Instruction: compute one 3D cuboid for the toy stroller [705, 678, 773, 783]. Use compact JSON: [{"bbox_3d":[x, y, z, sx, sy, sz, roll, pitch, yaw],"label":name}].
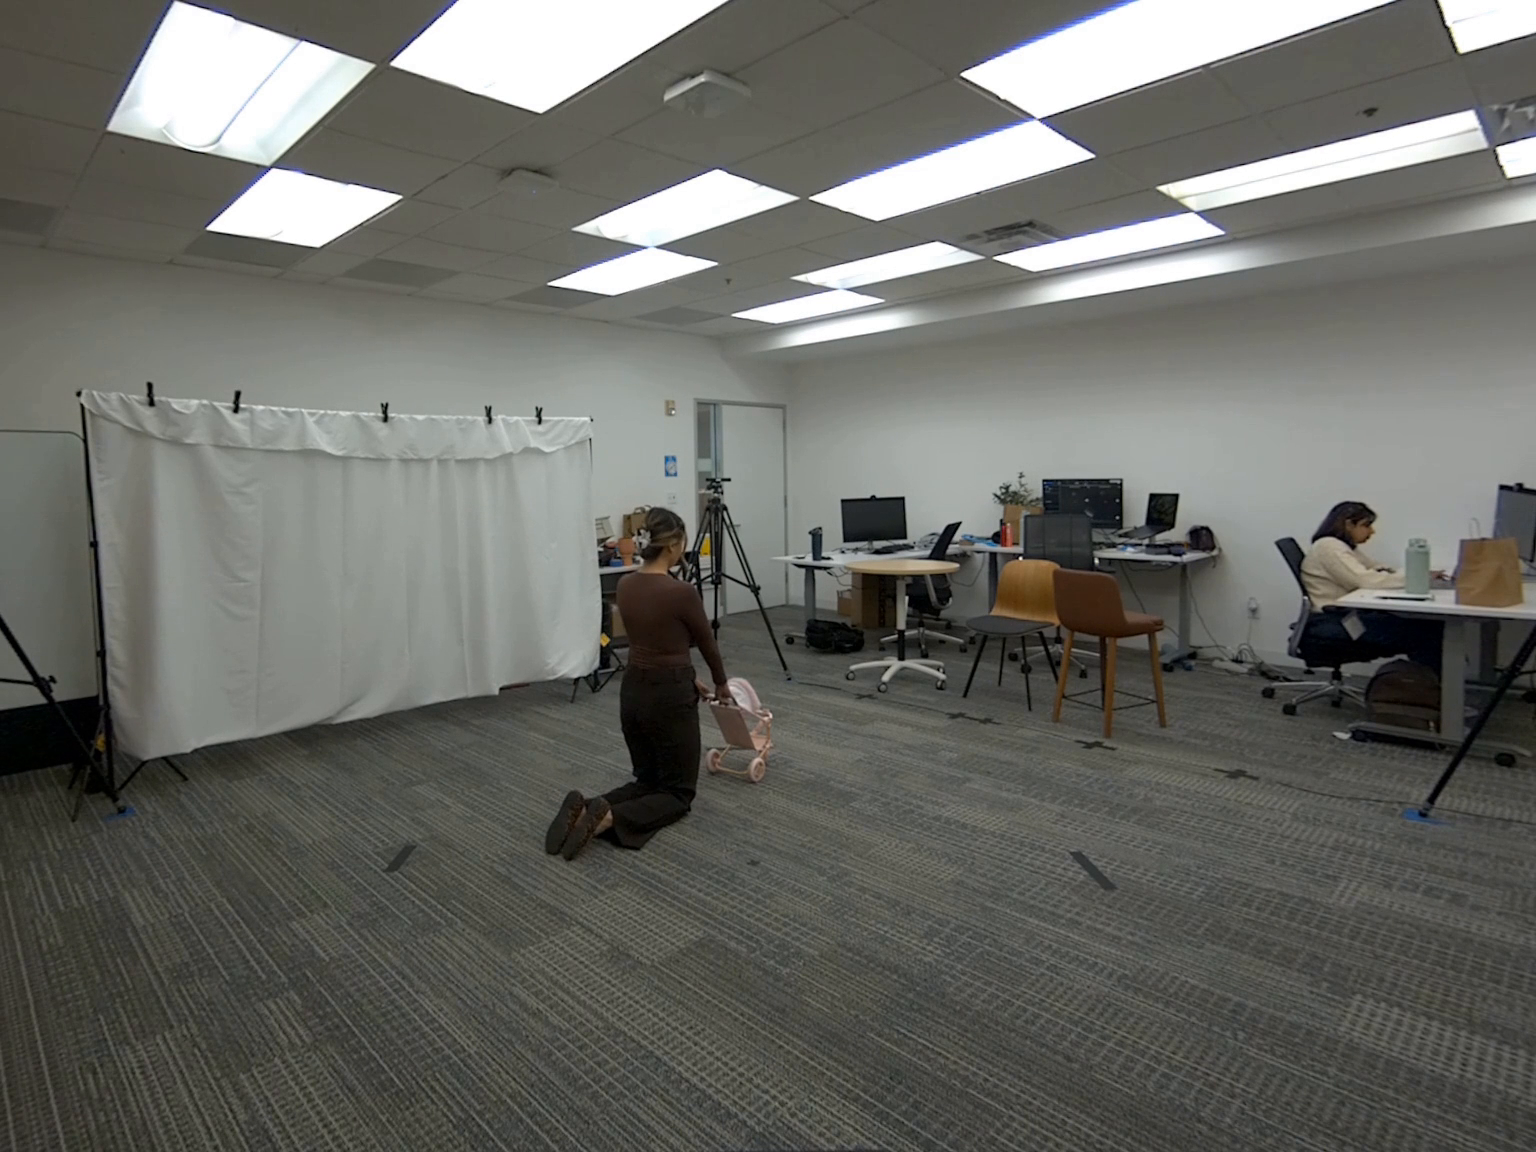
[{"bbox_3d":[-0.126,0.714,4.051,0.290,0.525,0.337,3,22,38],"label":"toy stroller"}]
